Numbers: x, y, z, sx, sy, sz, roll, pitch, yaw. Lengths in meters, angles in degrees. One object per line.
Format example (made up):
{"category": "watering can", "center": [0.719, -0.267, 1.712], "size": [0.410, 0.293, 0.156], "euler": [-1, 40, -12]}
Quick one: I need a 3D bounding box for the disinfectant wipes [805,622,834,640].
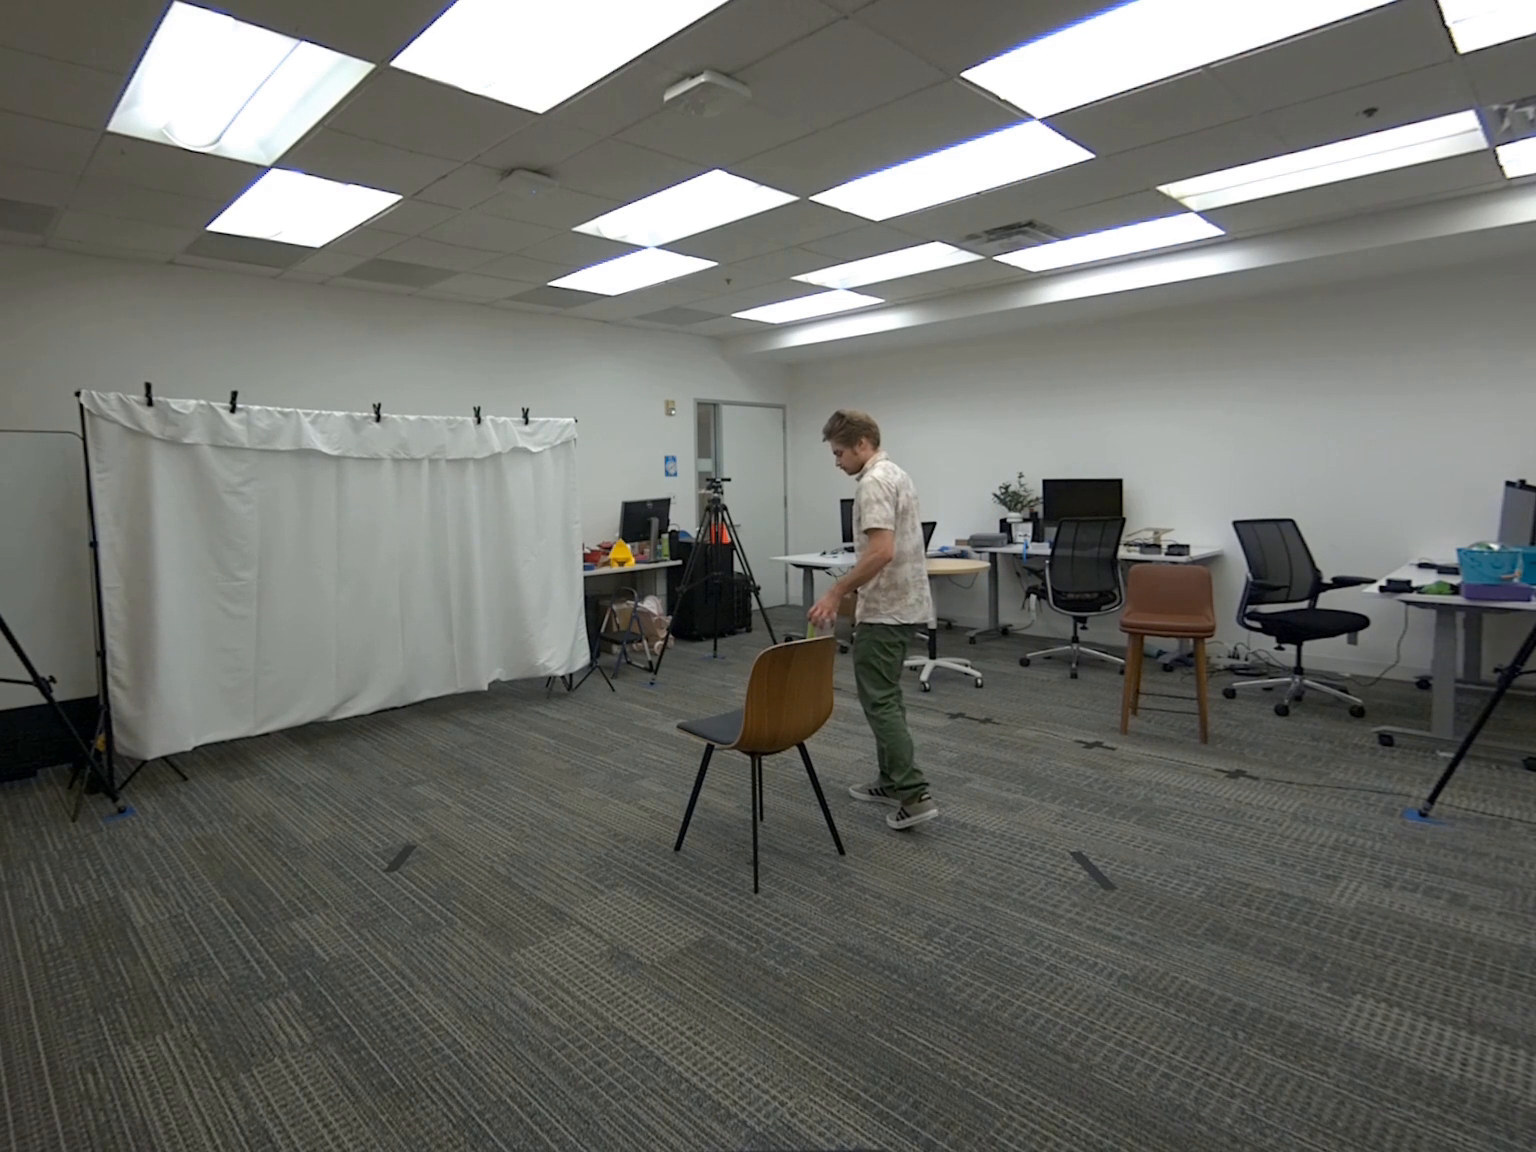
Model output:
{"category": "disinfectant wipes", "center": [0.251, 0.243, 3.532], "size": [0.118, 0.212, 0.120], "euler": [0, 29, -2]}
